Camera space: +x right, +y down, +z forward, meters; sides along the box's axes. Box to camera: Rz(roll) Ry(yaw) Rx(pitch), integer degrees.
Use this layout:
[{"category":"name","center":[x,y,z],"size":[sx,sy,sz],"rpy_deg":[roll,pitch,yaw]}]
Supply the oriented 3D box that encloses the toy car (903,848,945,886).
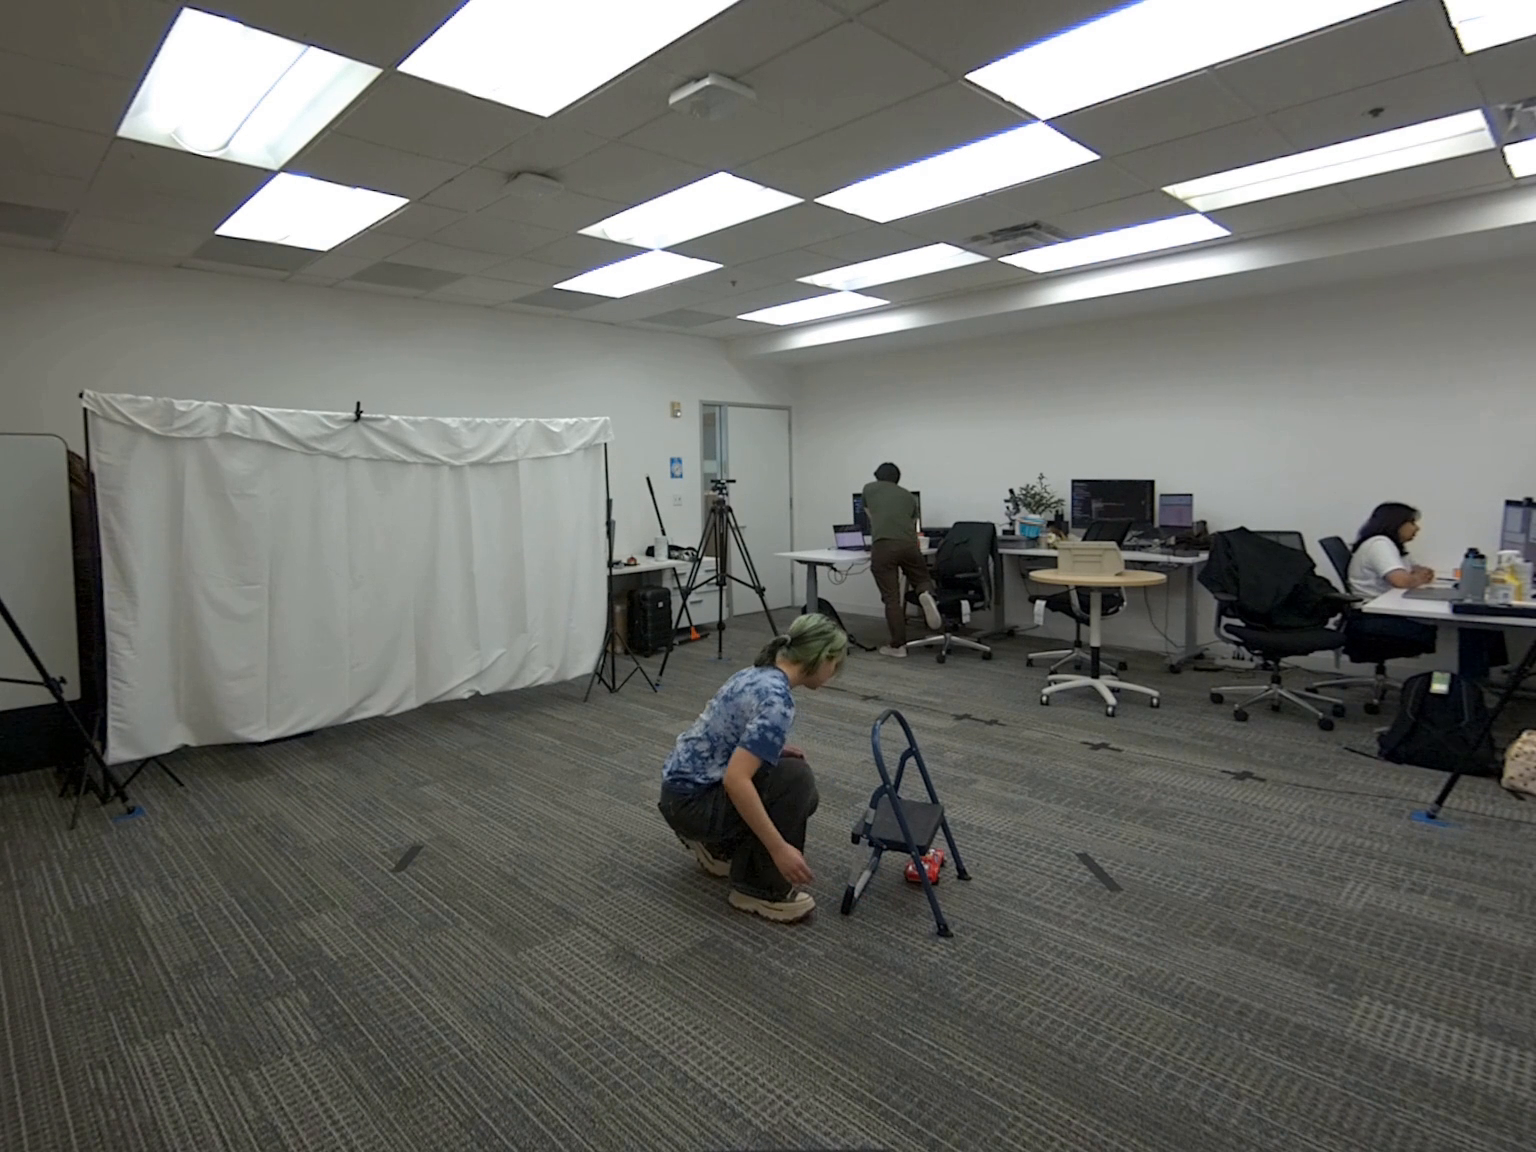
[{"category":"toy car","center":[0.548,1.013,2.988],"size":[0.133,0.083,0.248],"rpy_deg":[1,-5,22]}]
